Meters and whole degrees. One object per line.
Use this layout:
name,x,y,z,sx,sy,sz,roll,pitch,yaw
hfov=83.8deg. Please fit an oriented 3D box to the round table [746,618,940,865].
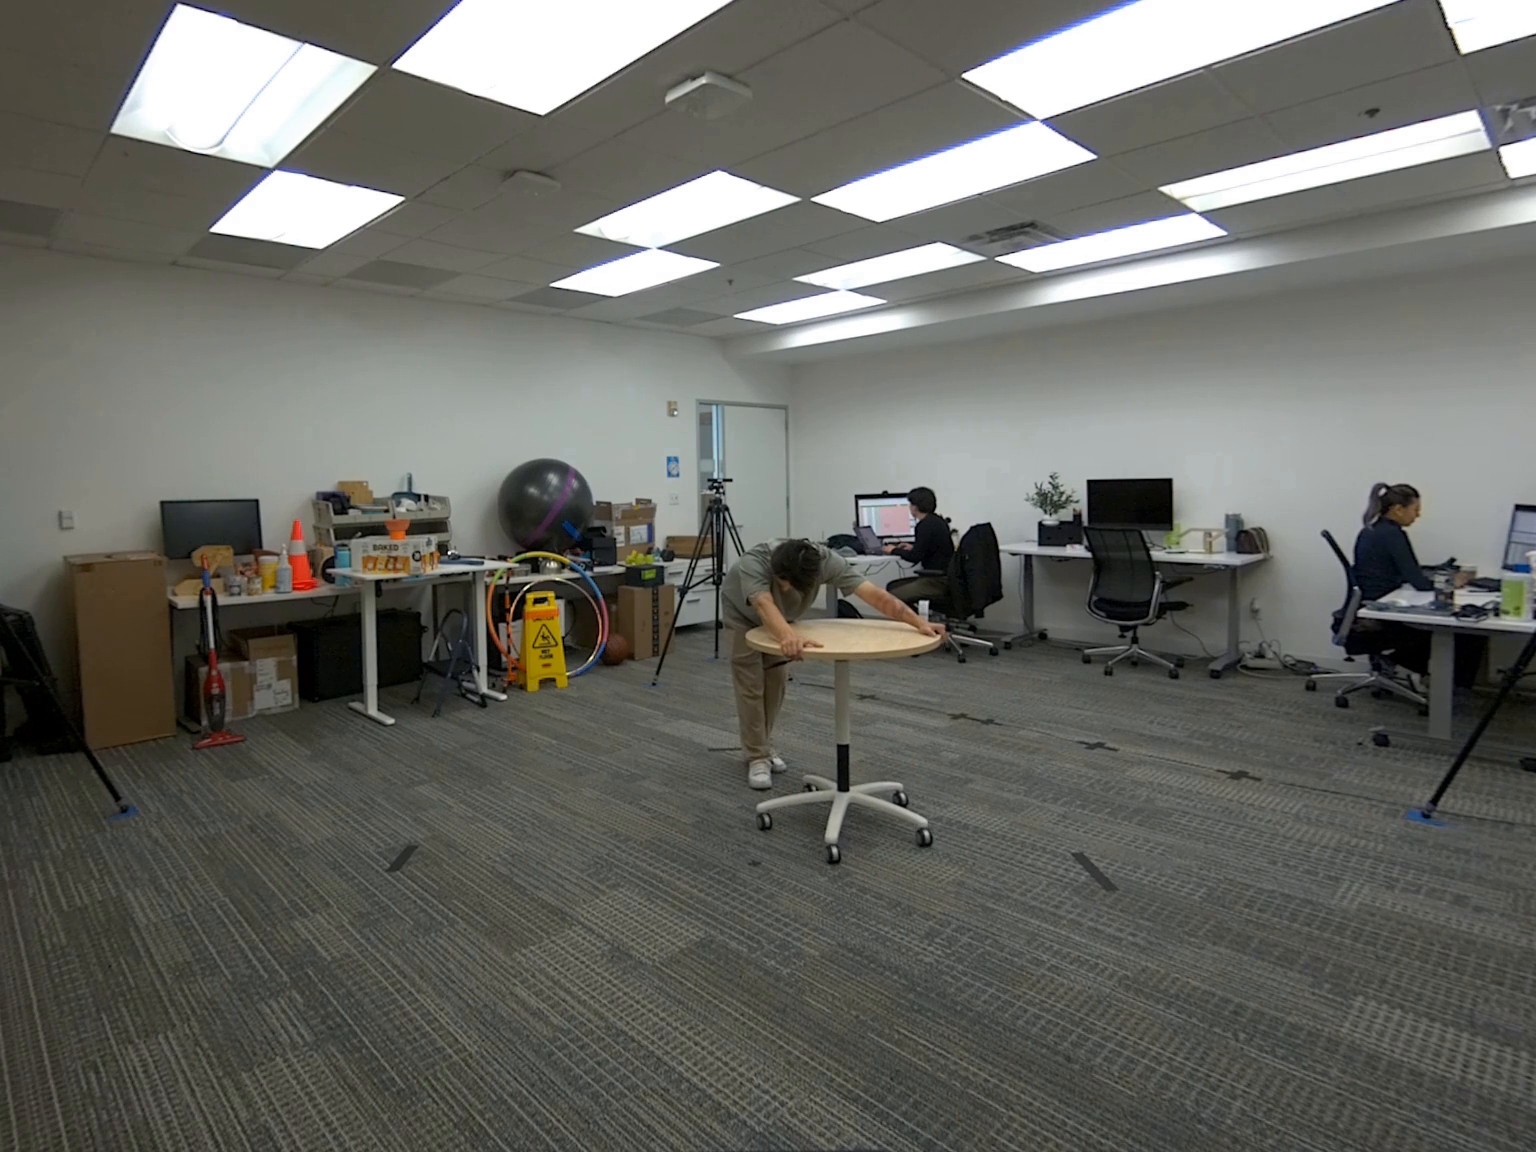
round table,0.321,0.617,3.419,0.784,0.783,0.789,-2,5,-2
